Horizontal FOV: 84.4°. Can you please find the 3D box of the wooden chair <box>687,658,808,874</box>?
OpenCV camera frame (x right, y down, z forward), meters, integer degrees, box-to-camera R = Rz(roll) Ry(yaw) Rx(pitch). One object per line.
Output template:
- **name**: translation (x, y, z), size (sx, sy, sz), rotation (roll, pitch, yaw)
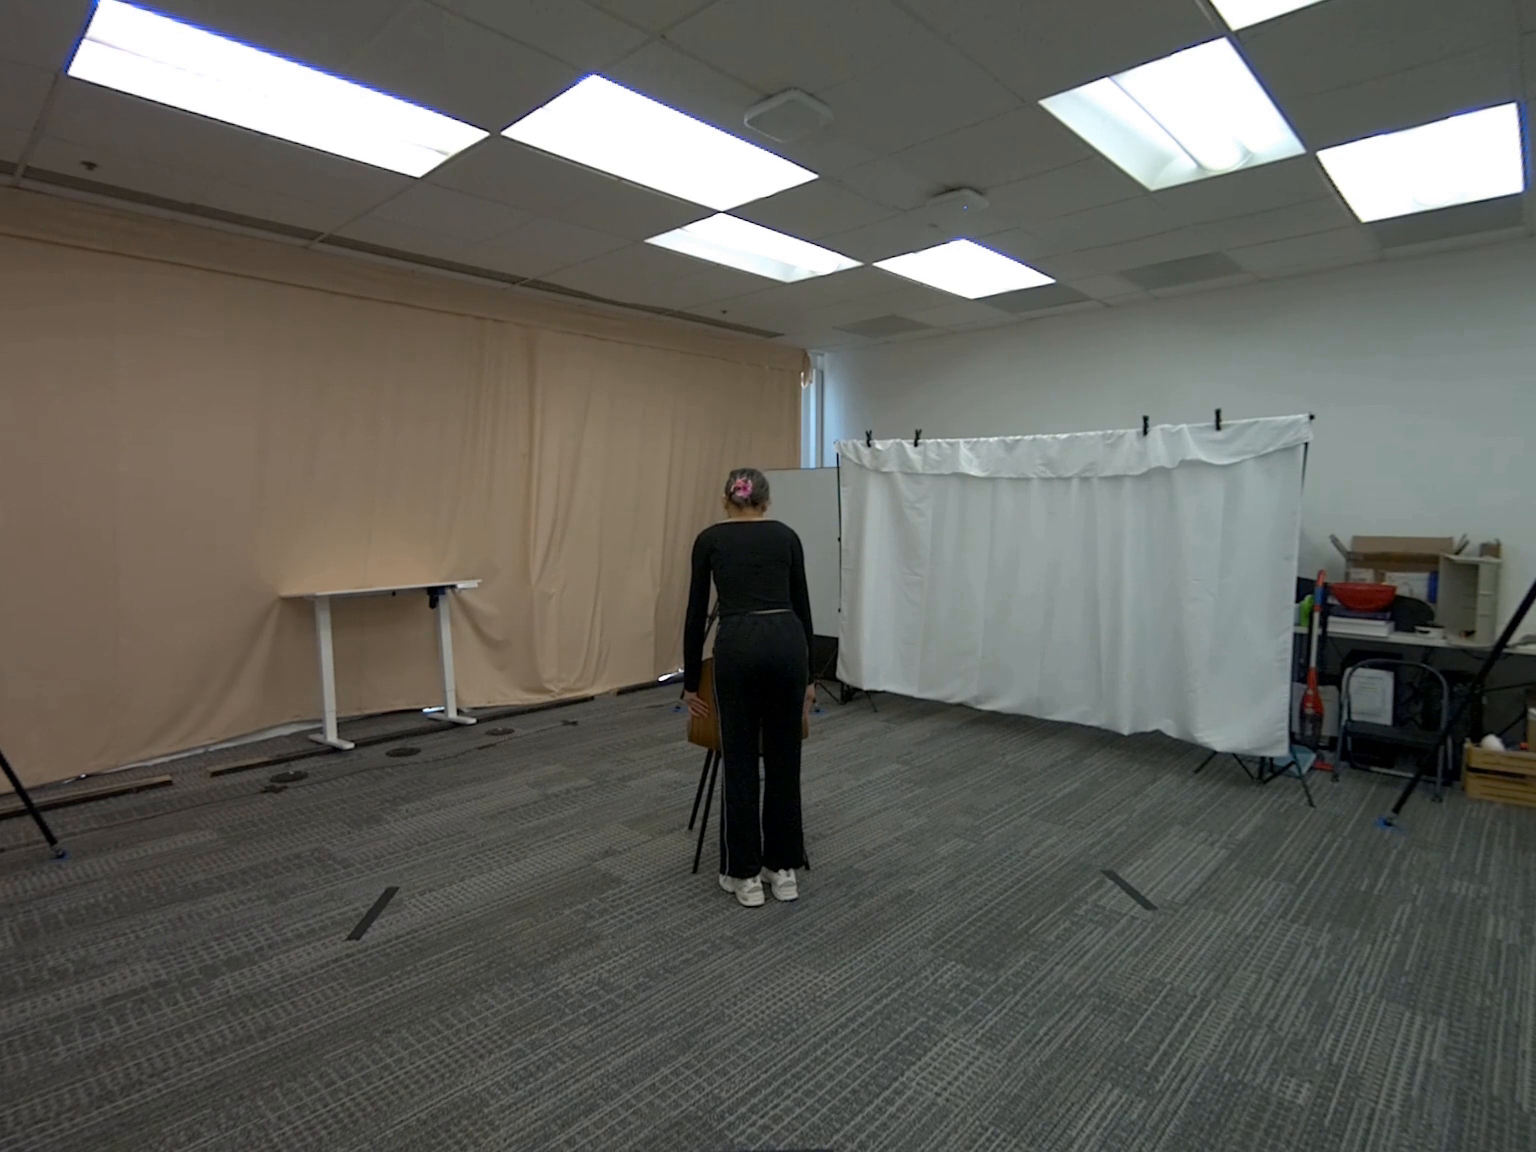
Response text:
- **wooden chair**: translation (-0.097, 0.680, 3.404), size (0.475, 0.873, 0.529), rotation (-1, 7, -6)
